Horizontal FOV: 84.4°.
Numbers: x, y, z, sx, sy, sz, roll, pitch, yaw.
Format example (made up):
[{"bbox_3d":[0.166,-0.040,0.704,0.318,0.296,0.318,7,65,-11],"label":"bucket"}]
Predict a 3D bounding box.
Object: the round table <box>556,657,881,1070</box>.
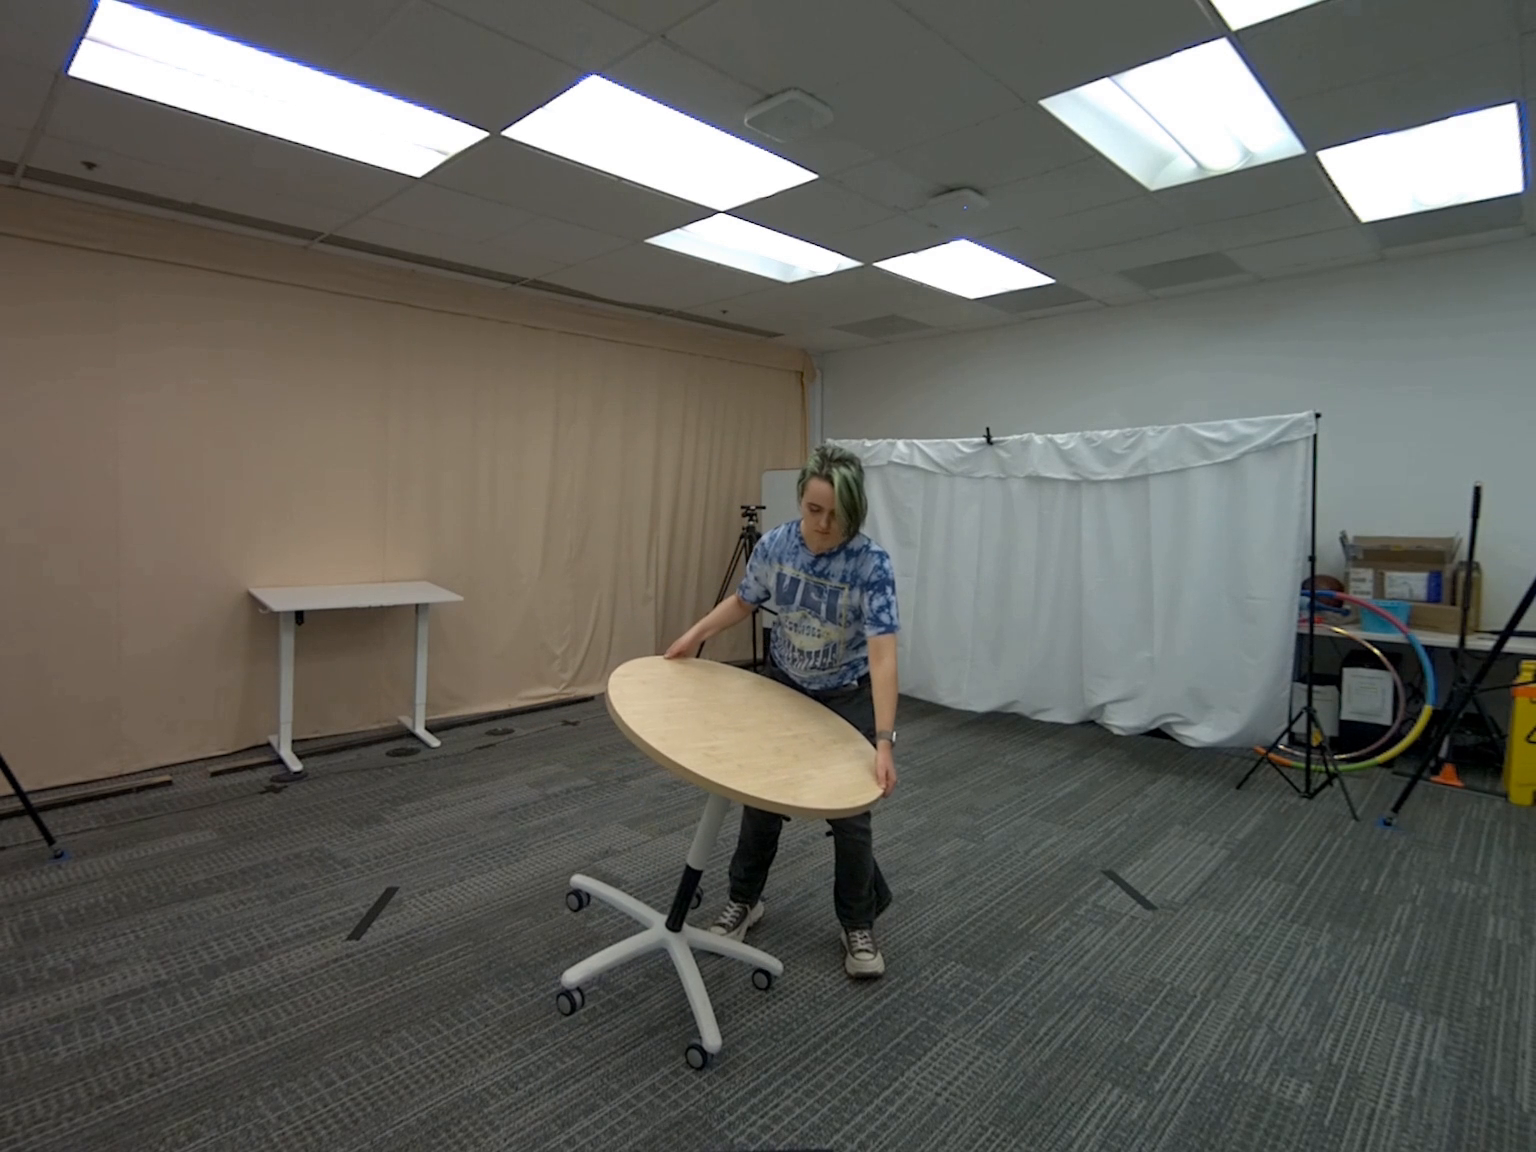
[{"bbox_3d":[-0.188,0.751,2.287,0.759,0.791,0.771,17,13,-6],"label":"round table"}]
